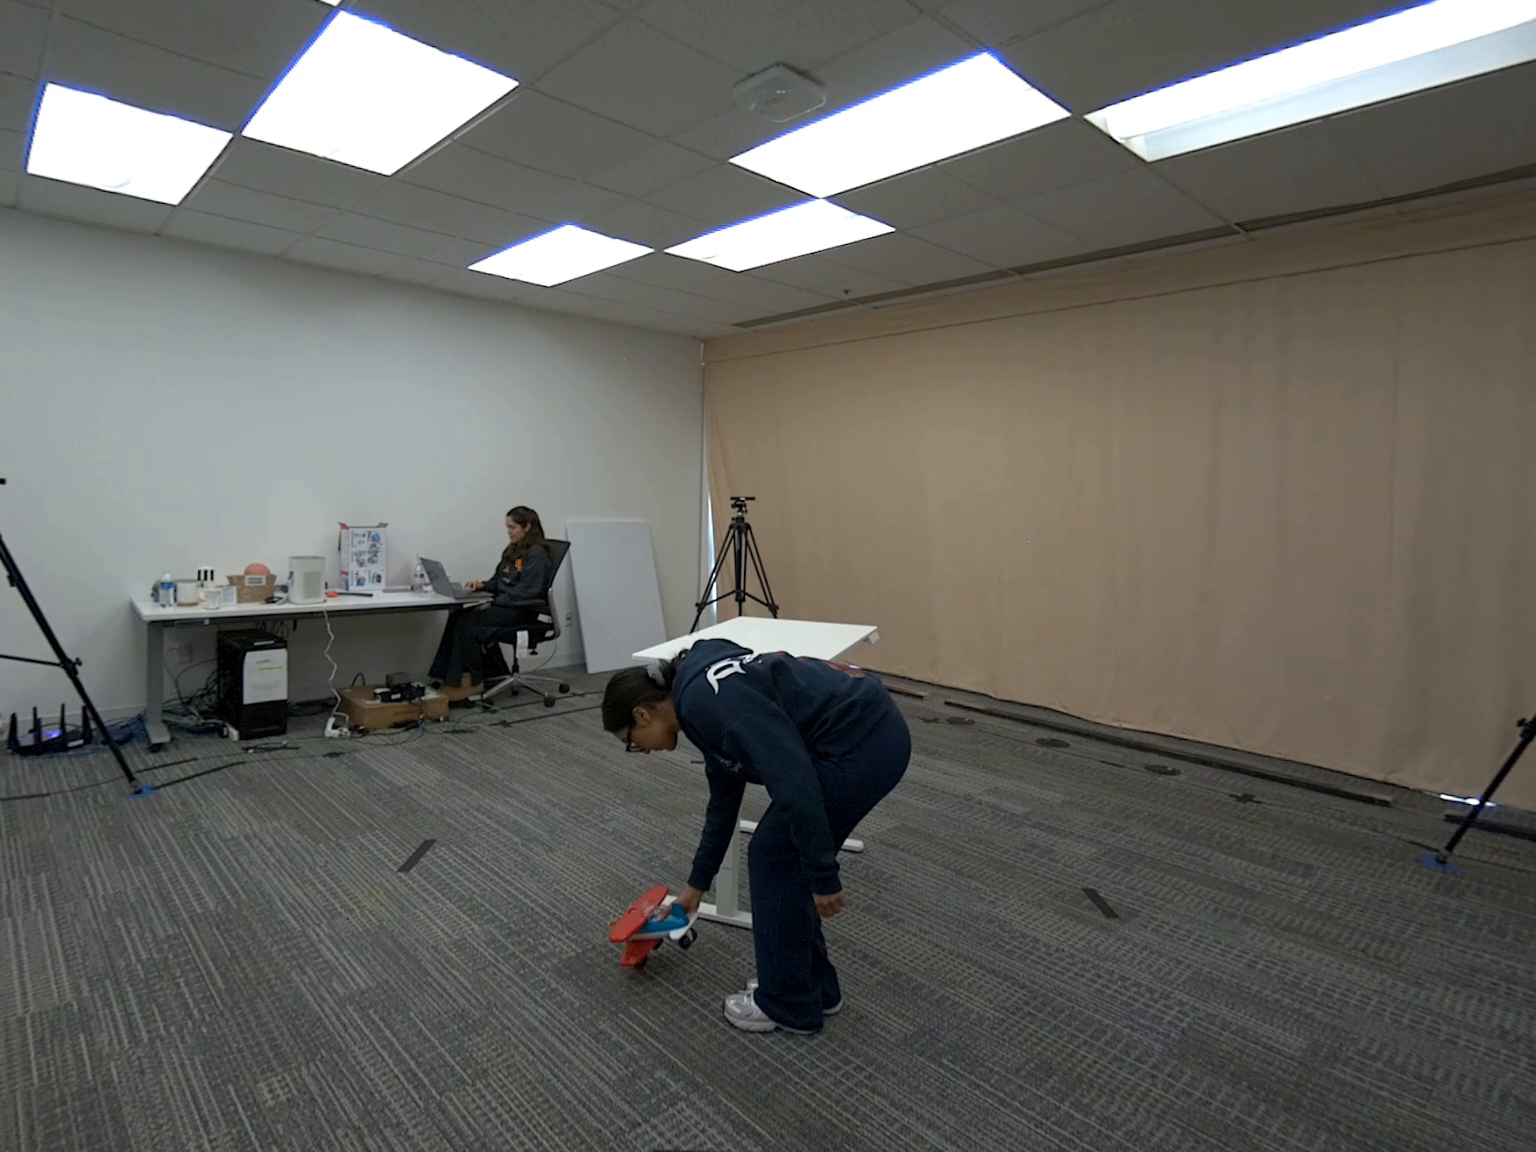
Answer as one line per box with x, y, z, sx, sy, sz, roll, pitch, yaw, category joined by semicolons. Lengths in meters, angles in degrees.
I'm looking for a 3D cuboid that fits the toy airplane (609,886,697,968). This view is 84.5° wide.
-0.327;1.030;2.495;0.259;0.156;0.250;-32;0;4;toy airplane
